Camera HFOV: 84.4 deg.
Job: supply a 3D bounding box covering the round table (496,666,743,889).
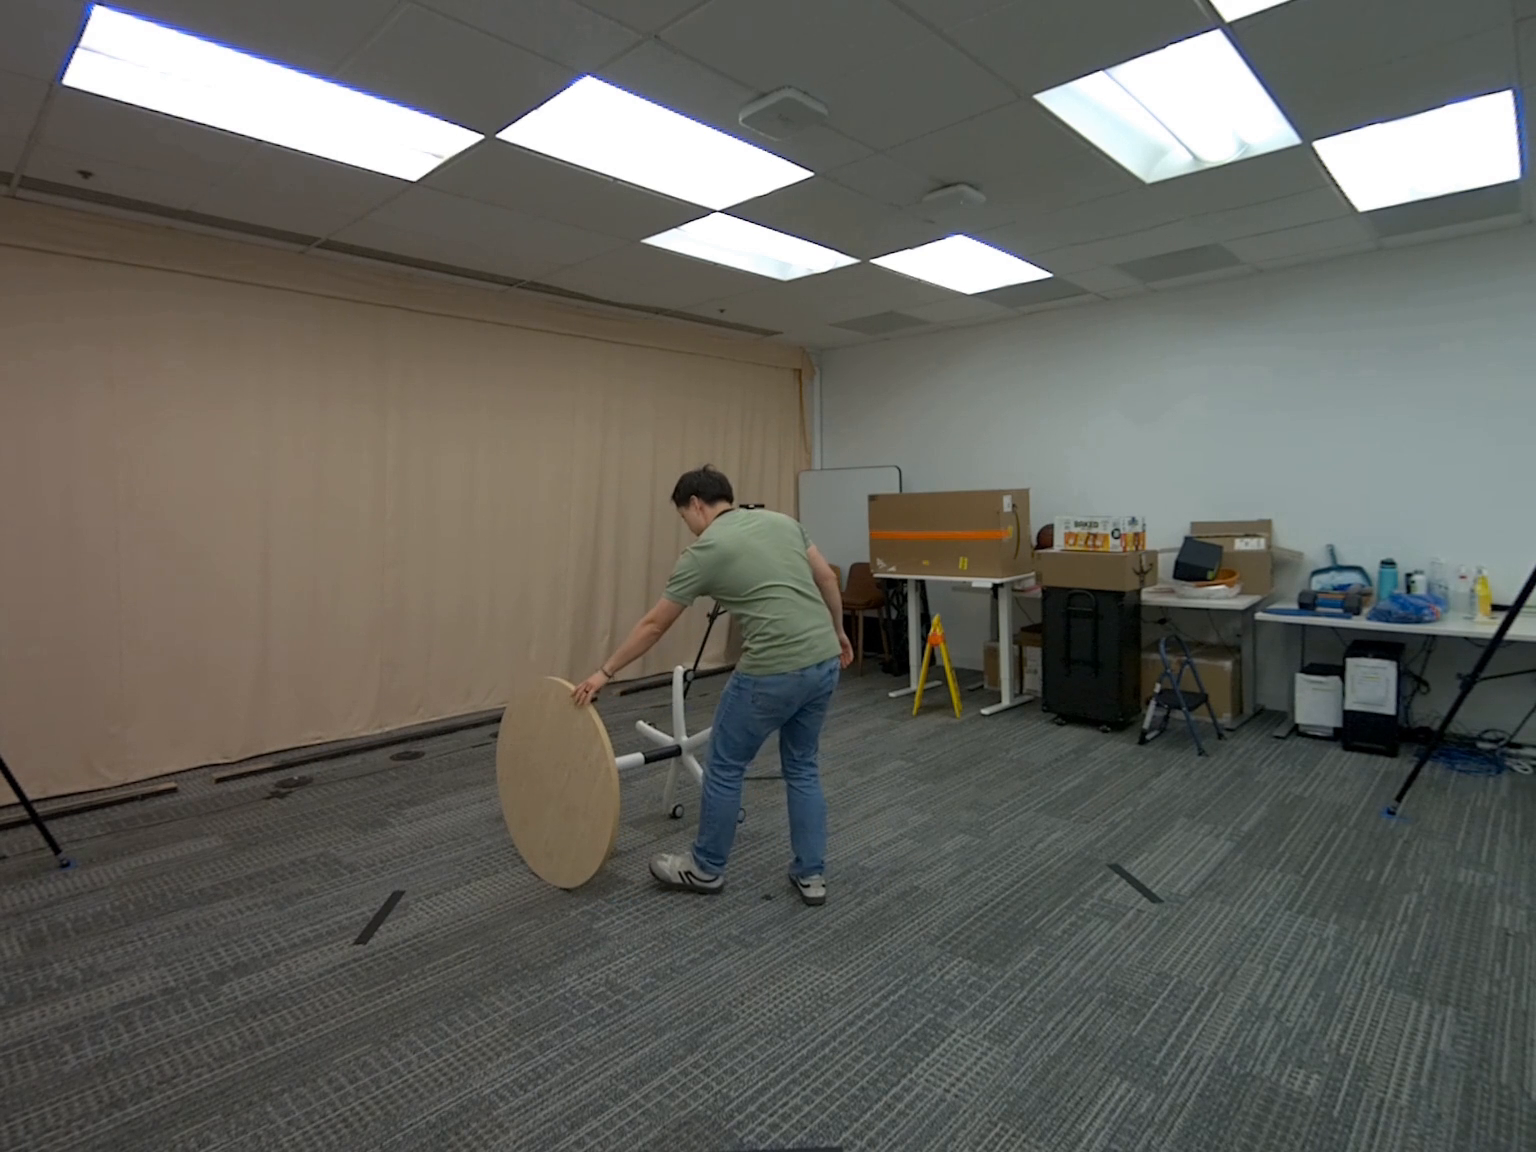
[{"bbox_3d":[-0.548,0.758,3.413,0.789,0.763,0.769,3,2,43],"label":"round table"}]
